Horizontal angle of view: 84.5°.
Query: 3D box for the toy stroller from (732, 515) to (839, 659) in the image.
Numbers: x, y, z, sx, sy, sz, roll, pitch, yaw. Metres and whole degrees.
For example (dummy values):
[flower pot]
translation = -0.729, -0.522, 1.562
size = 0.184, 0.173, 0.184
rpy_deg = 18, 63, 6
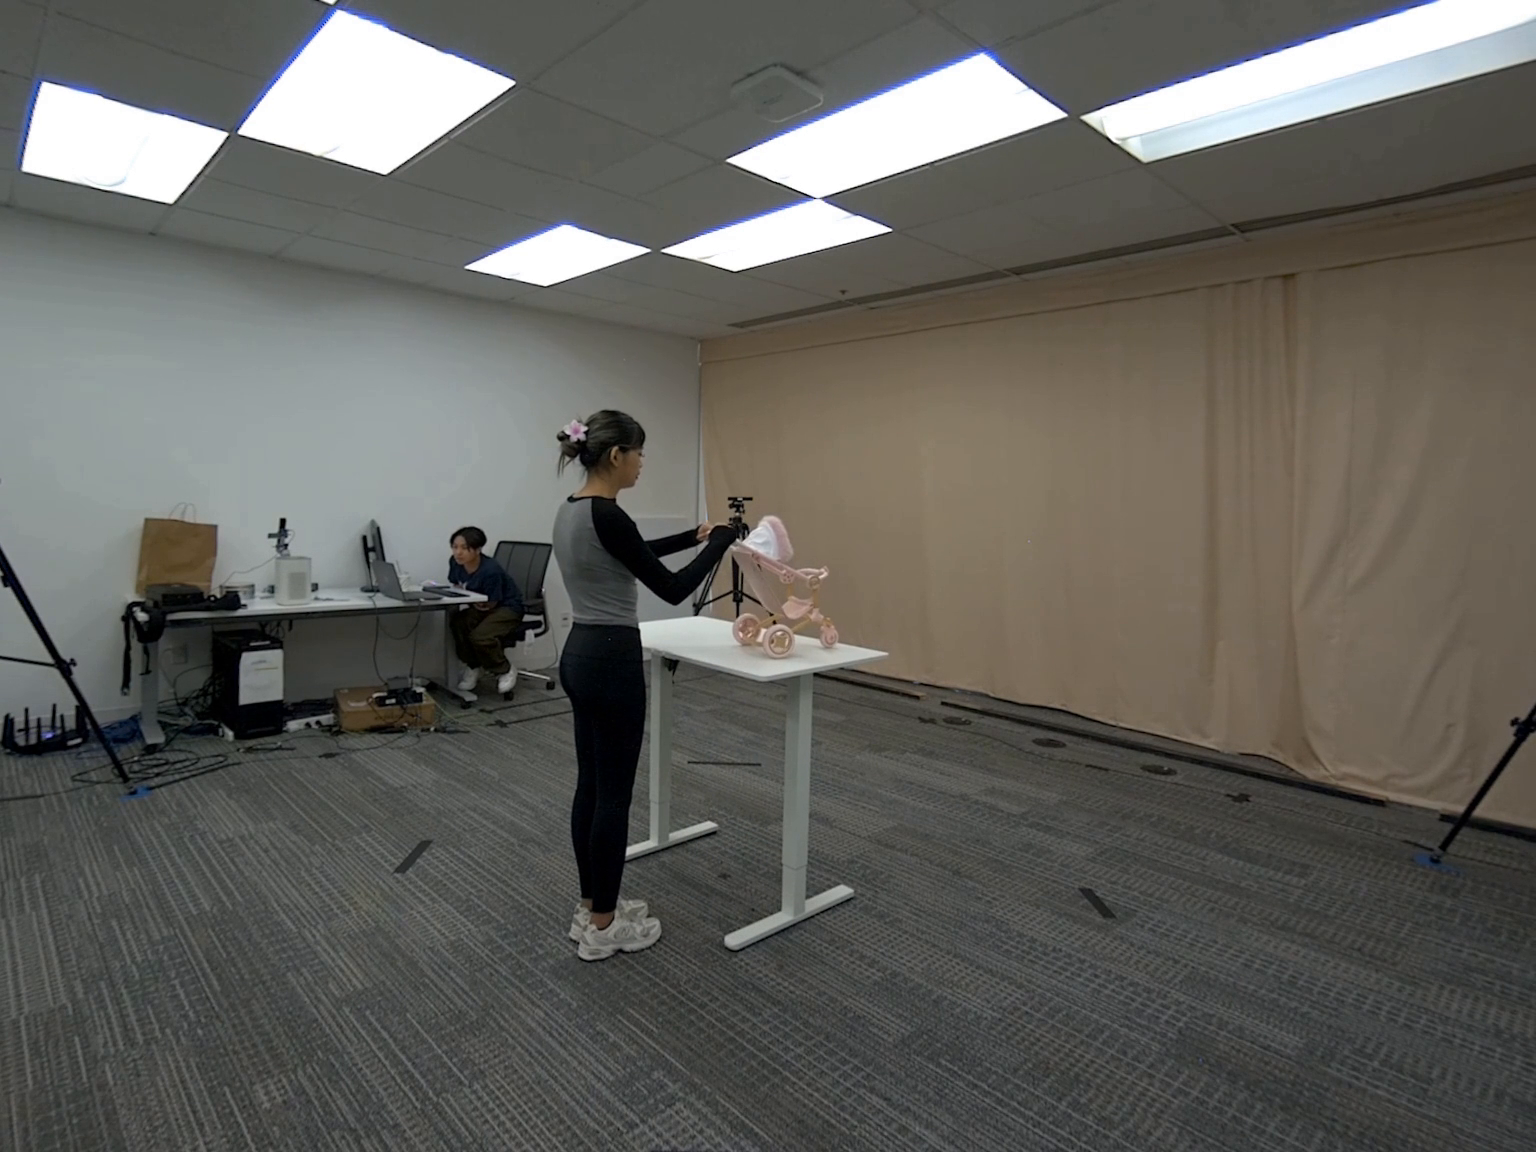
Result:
[toy stroller]
translation = 0.023, 0.033, 2.827
size = 0.338, 0.530, 0.286
rpy_deg = -18, 10, -18
